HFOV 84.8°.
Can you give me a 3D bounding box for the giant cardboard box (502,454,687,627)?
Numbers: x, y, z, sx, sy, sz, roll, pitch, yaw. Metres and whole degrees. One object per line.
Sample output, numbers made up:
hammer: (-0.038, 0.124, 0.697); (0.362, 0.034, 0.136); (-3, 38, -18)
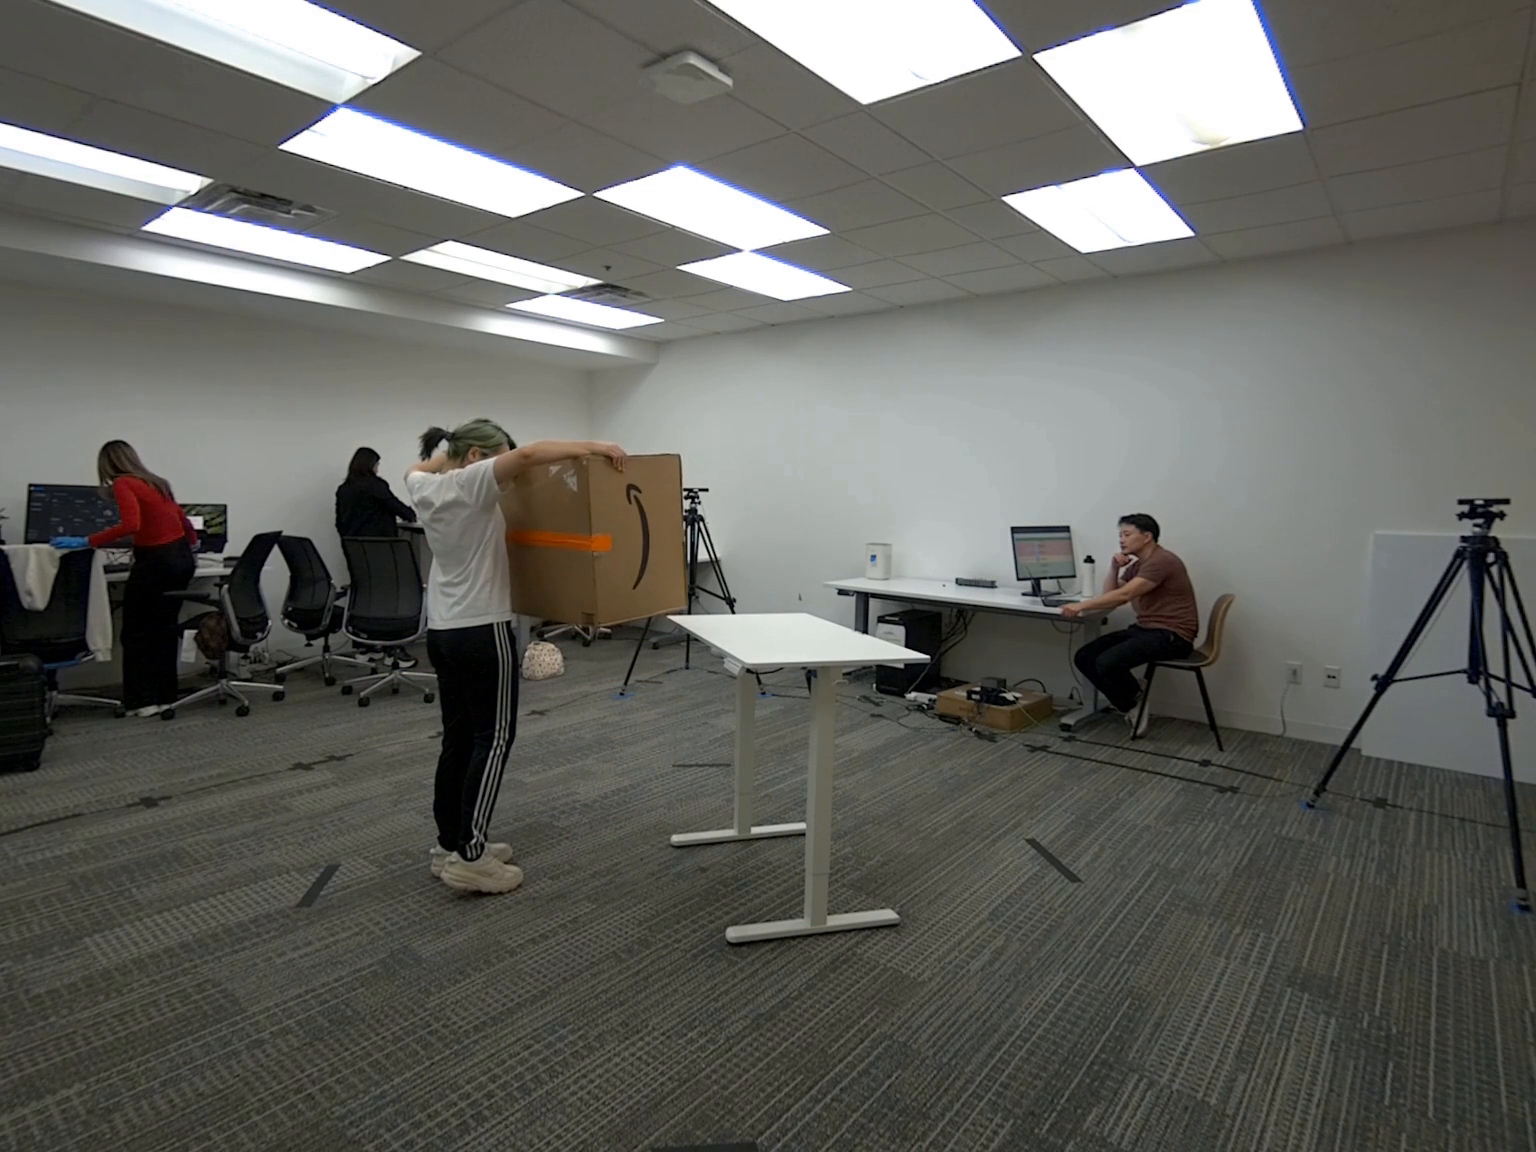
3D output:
giant cardboard box: (-0.840, -0.166, 3.330); (1.061, 0.581, 0.435); (3, 8, 43)
